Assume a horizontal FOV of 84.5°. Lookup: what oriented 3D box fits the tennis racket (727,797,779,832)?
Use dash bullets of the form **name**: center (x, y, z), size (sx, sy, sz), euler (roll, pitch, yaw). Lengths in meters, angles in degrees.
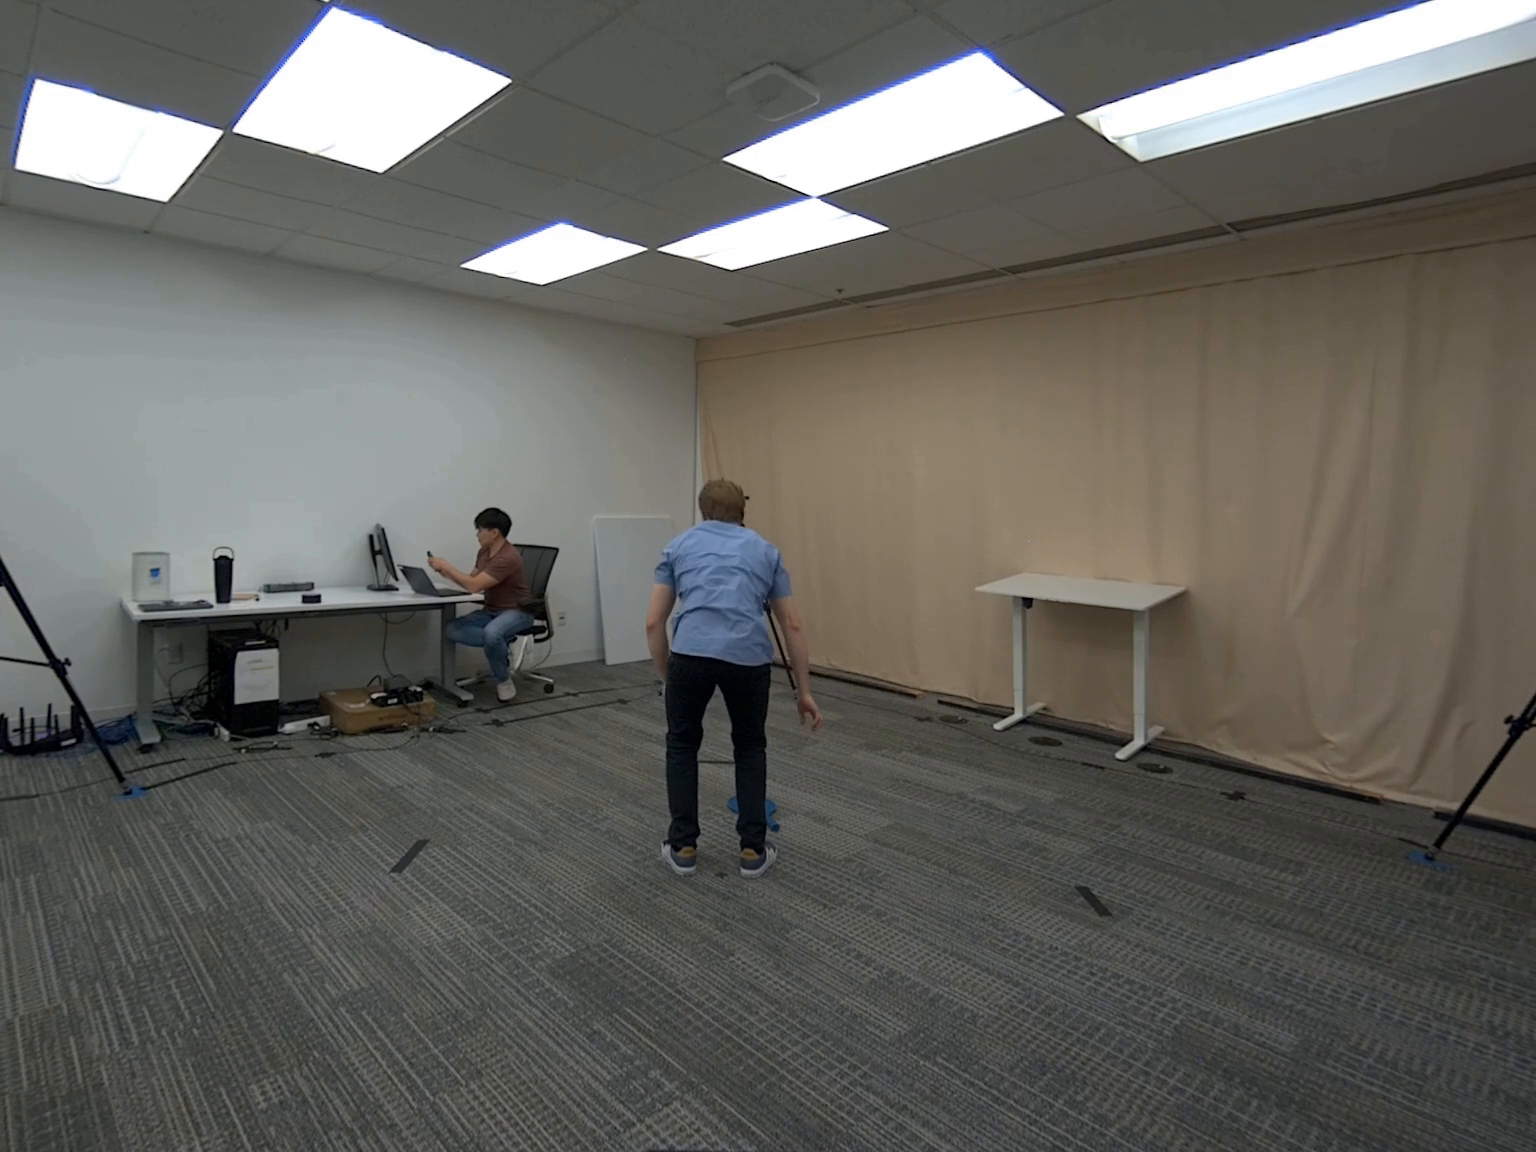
- **tennis racket**: center (-0.051, 1.039, 3.731), size (0.210, 0.032, 0.440), euler (0, 4, -22)
